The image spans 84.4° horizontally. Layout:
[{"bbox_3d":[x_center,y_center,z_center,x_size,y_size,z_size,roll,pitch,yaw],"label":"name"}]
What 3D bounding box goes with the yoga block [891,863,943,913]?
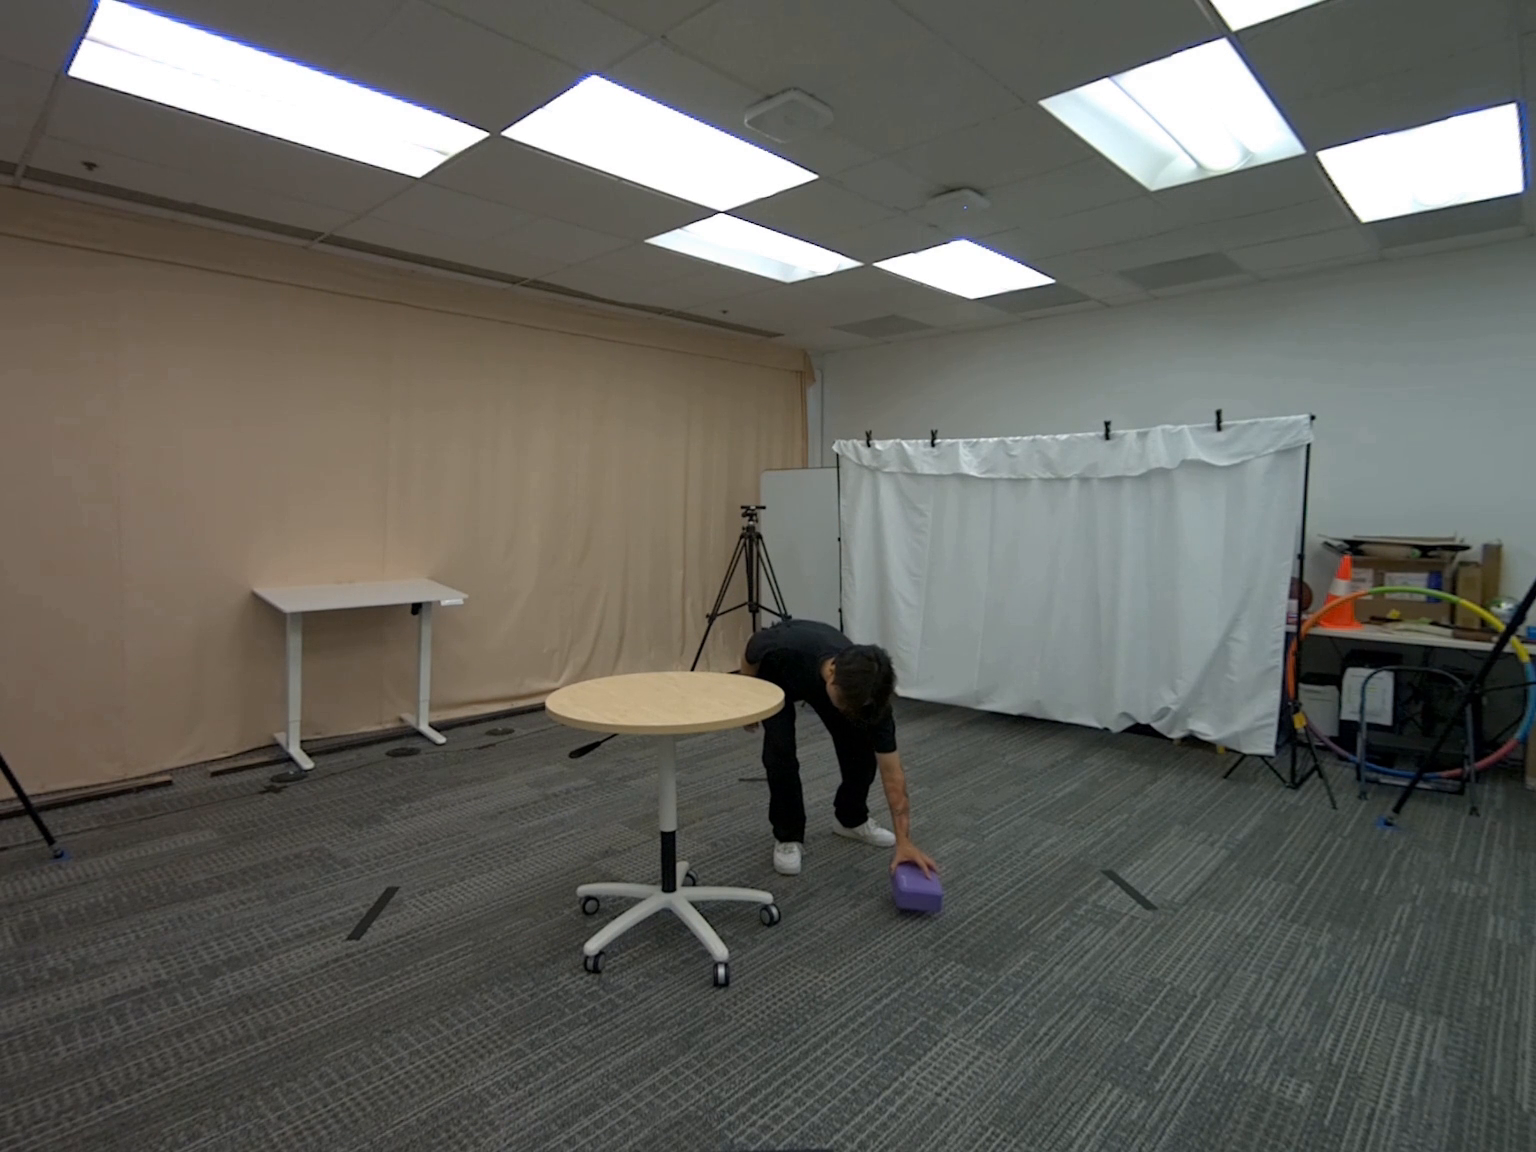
[{"bbox_3d":[0.510,1.058,2.914,0.149,0.076,0.230,6,9,1],"label":"yoga block"}]
